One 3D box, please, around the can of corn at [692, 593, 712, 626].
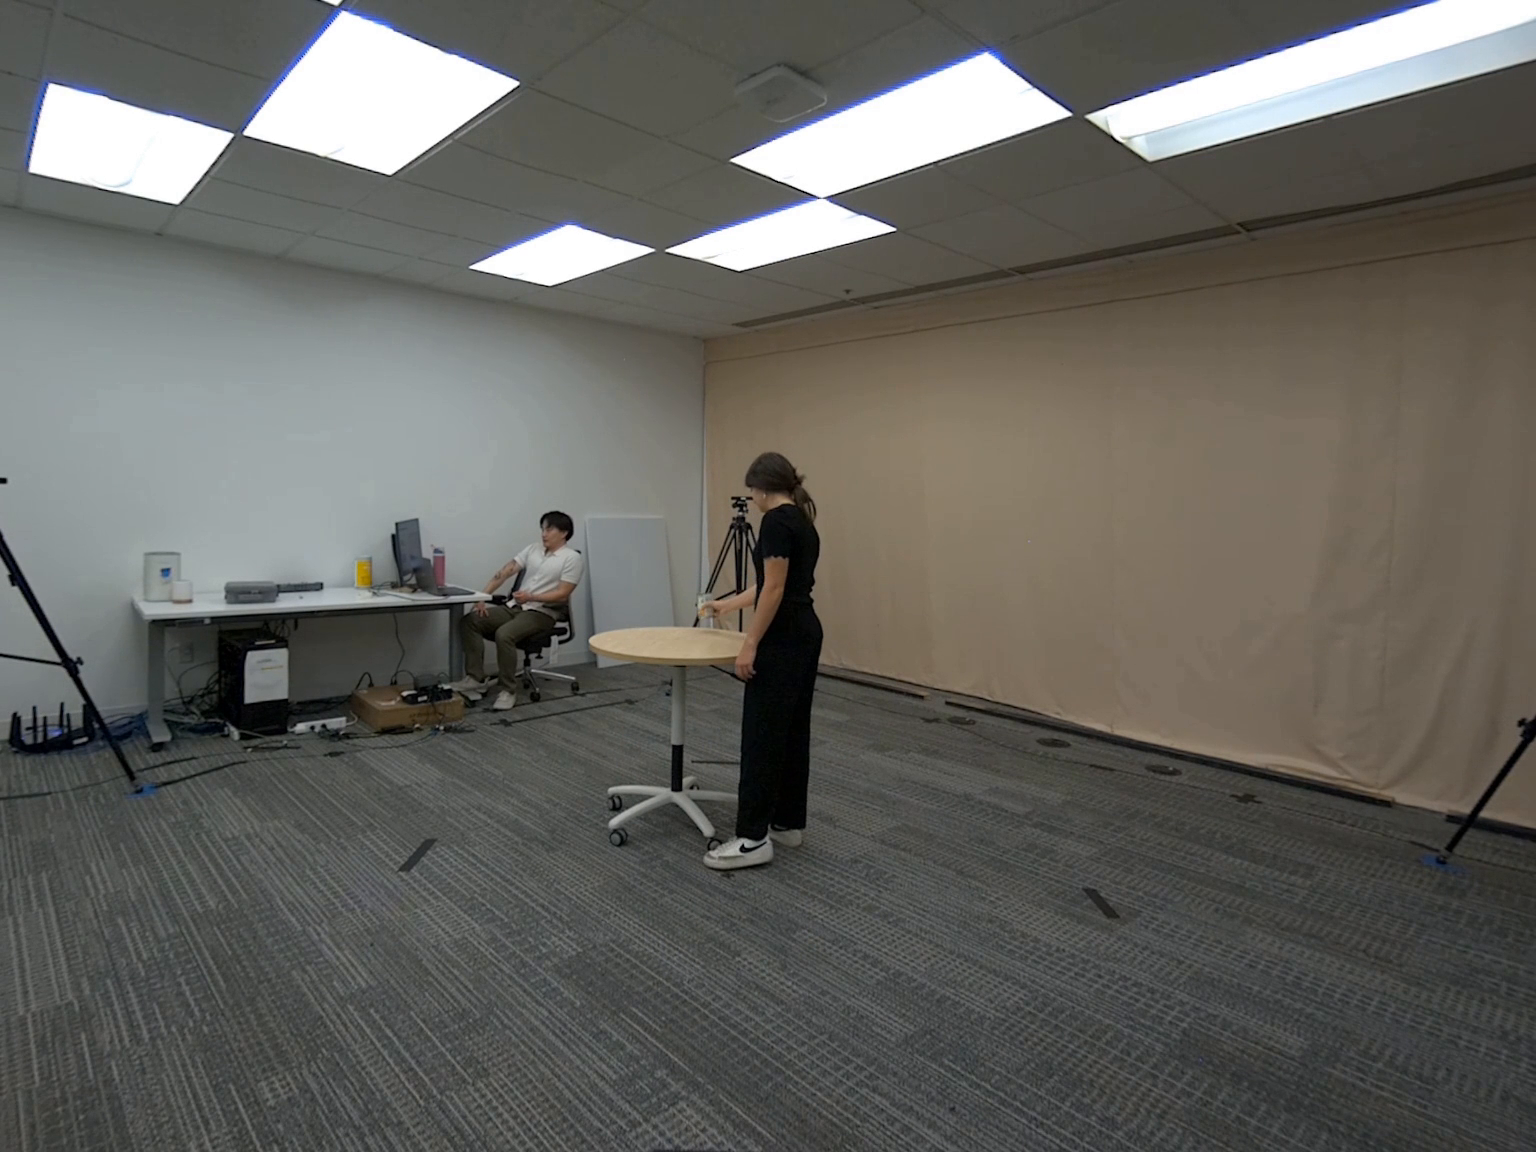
[{"bbox_3d":[-0.285,0.130,3.829,0.074,0.111,0.074,-4,-4,-2],"label":"can of corn"}]
